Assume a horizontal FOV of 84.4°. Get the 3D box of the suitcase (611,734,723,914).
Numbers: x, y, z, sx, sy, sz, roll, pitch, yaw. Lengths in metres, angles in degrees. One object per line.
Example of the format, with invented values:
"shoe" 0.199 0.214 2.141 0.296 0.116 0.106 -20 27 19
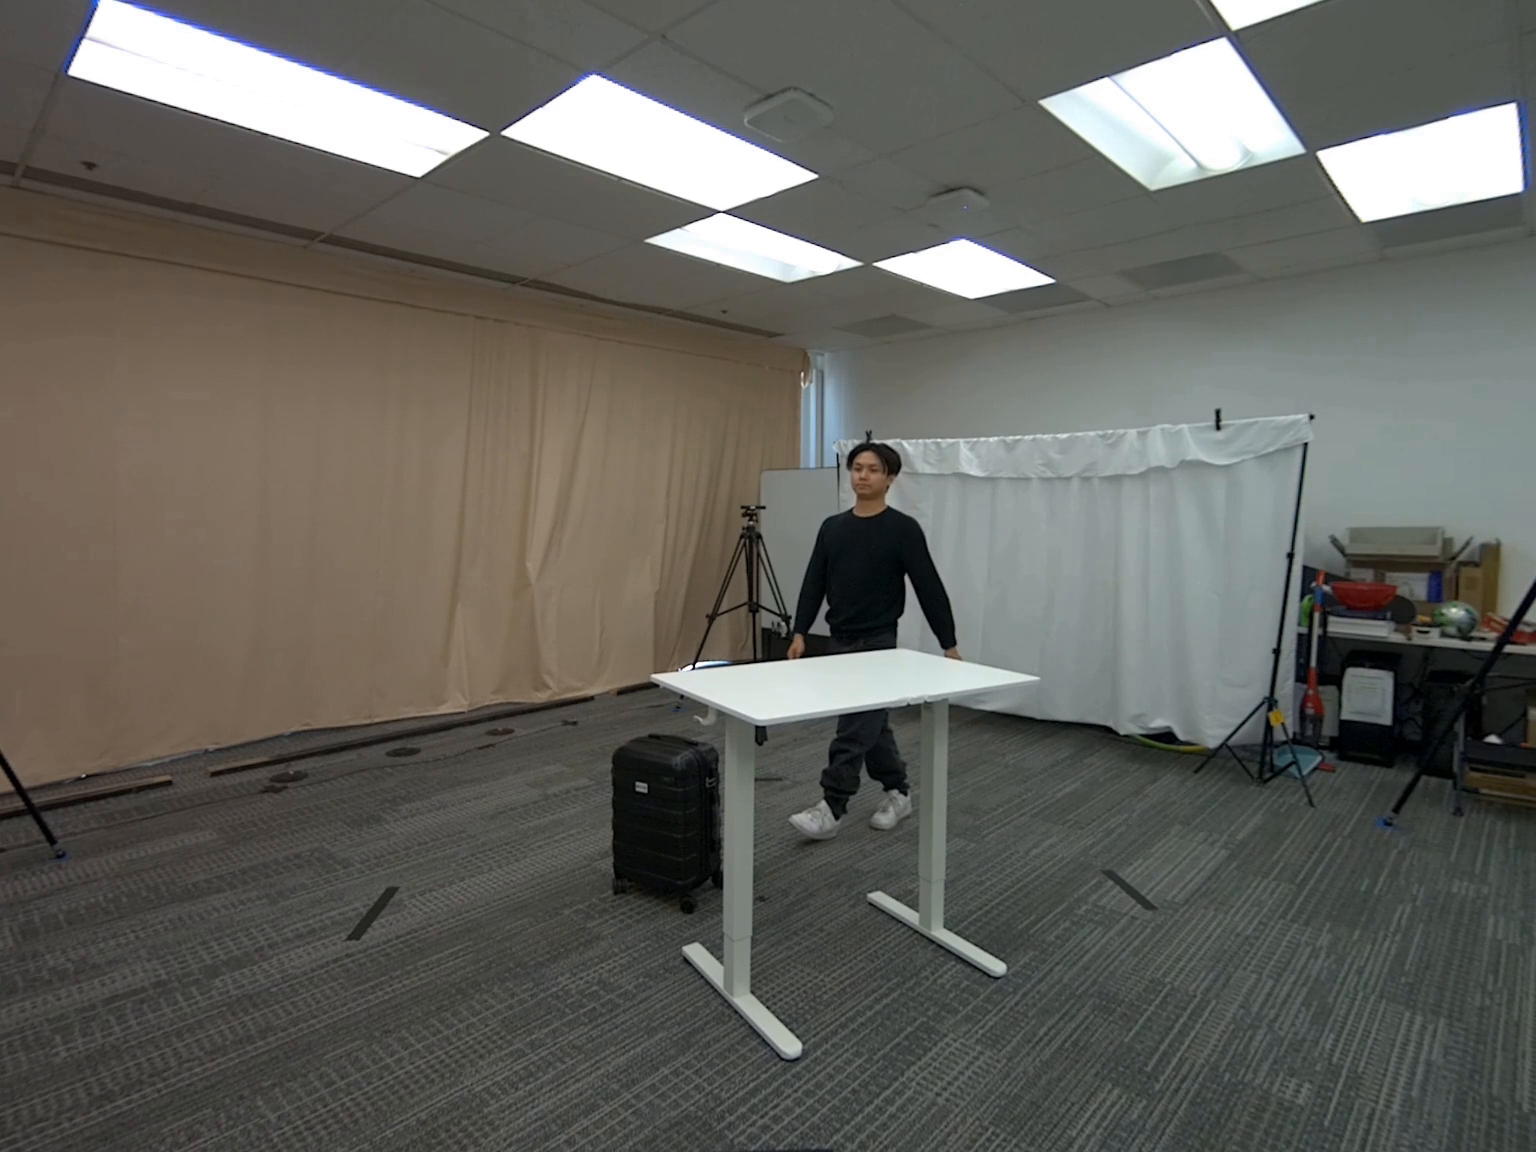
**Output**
"suitcase" -0.366 0.863 3.048 0.386 0.548 0.241 2 4 31
